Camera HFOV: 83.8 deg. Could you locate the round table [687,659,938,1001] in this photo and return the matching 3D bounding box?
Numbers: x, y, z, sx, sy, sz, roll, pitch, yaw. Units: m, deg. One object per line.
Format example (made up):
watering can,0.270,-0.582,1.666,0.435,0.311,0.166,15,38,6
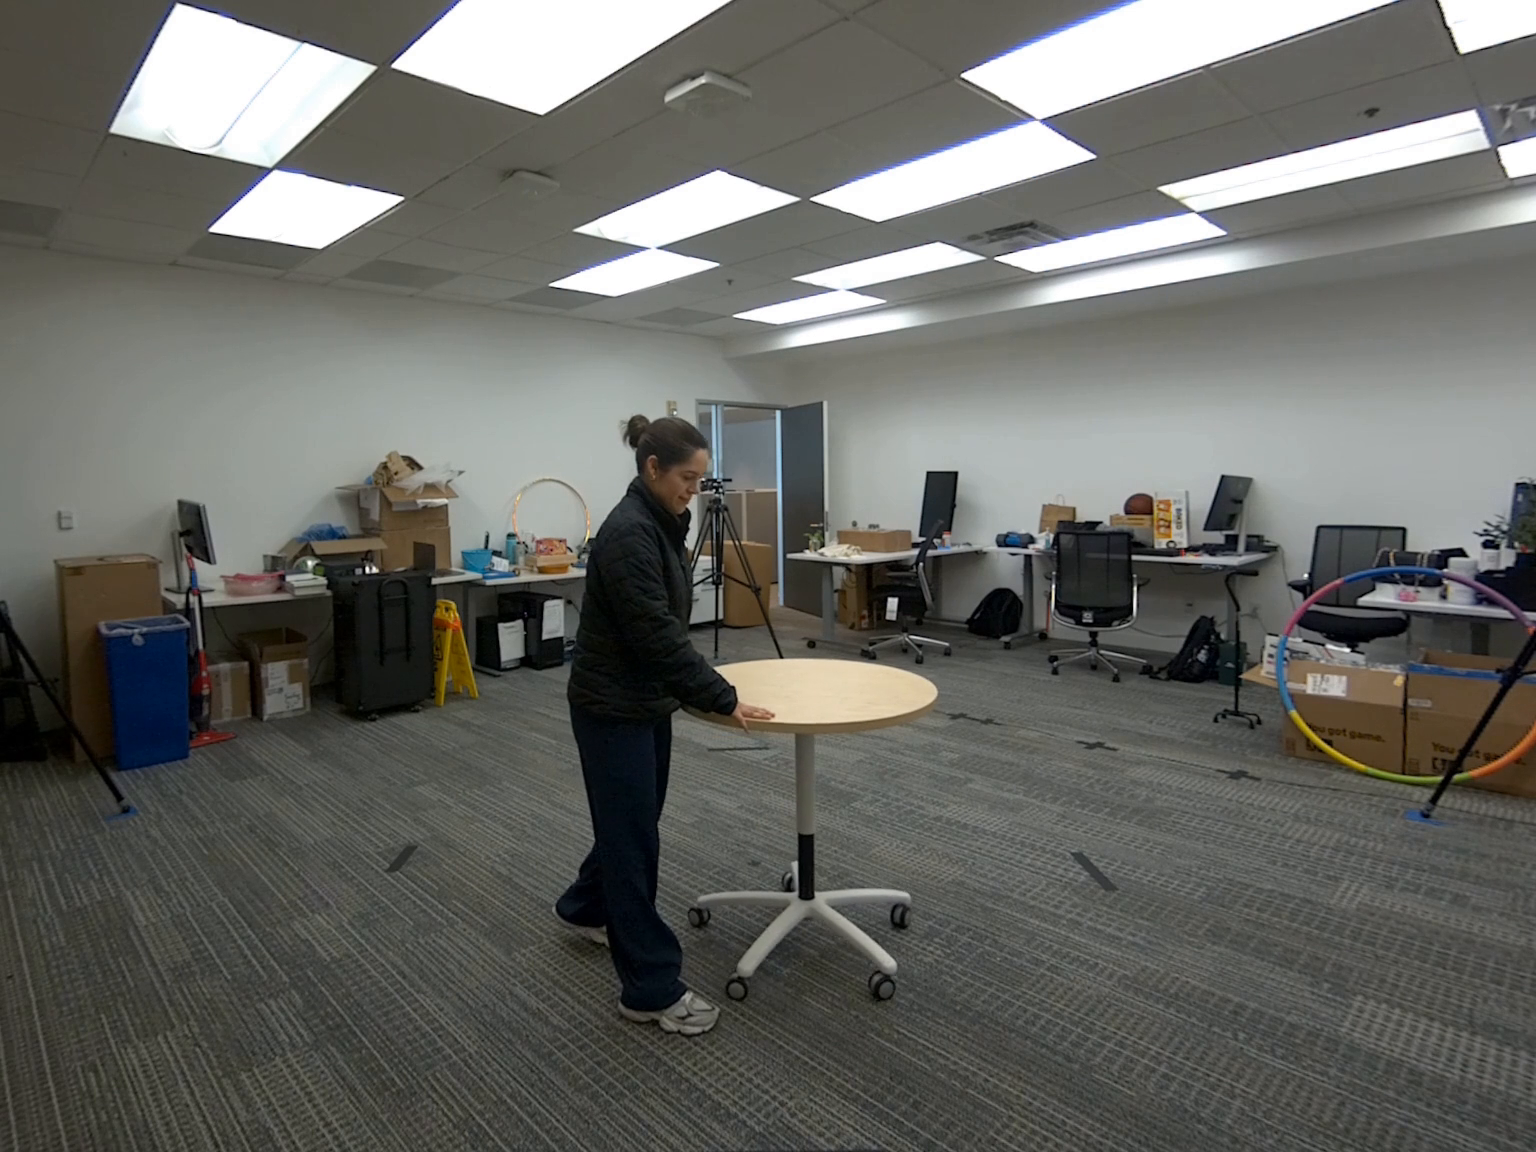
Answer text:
round table,0.099,0.714,2.557,0.784,0.783,0.789,-1,5,-2
